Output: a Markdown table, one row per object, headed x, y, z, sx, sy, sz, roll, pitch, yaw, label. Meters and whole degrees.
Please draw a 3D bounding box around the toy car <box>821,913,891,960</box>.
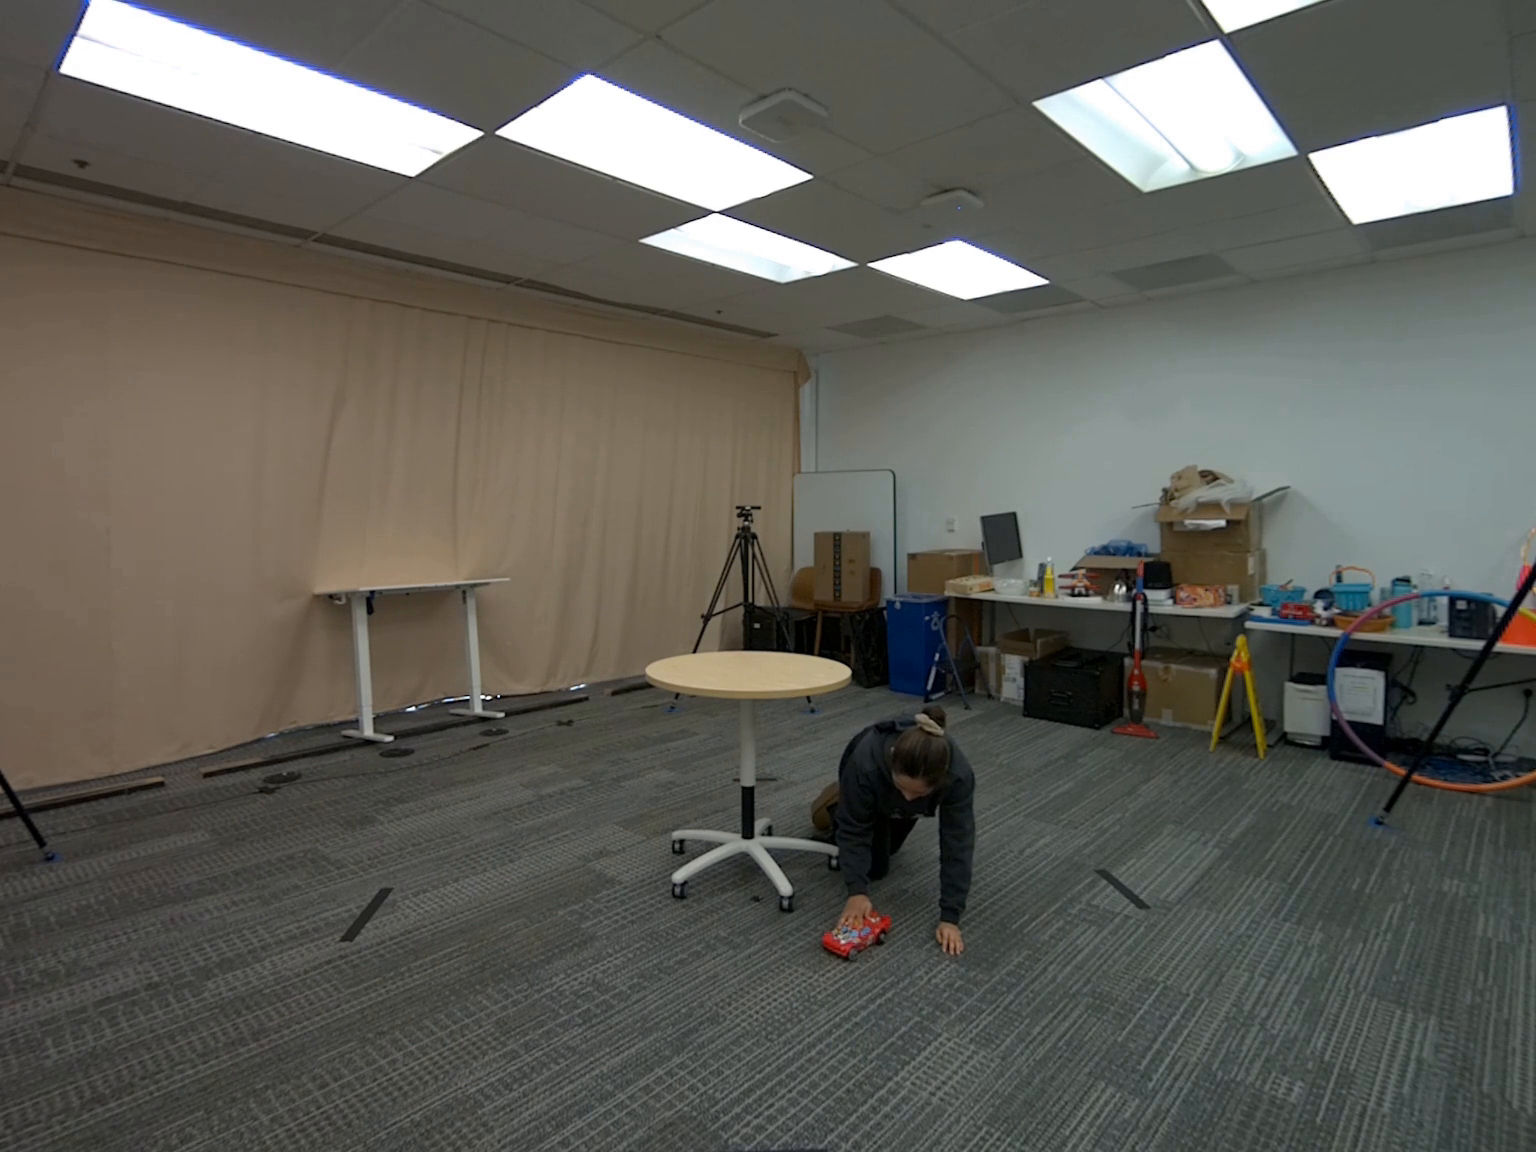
| x | y | z | sx | sy | sz | roll | pitch | yaw | label |
| --- | --- | --- | --- | --- | --- | --- | --- | --- | --- |
| 0.302 | 1.131 | 2.667 | 0.248 | 0.082 | 0.134 | -19 | 16 | -39 | toy car |
